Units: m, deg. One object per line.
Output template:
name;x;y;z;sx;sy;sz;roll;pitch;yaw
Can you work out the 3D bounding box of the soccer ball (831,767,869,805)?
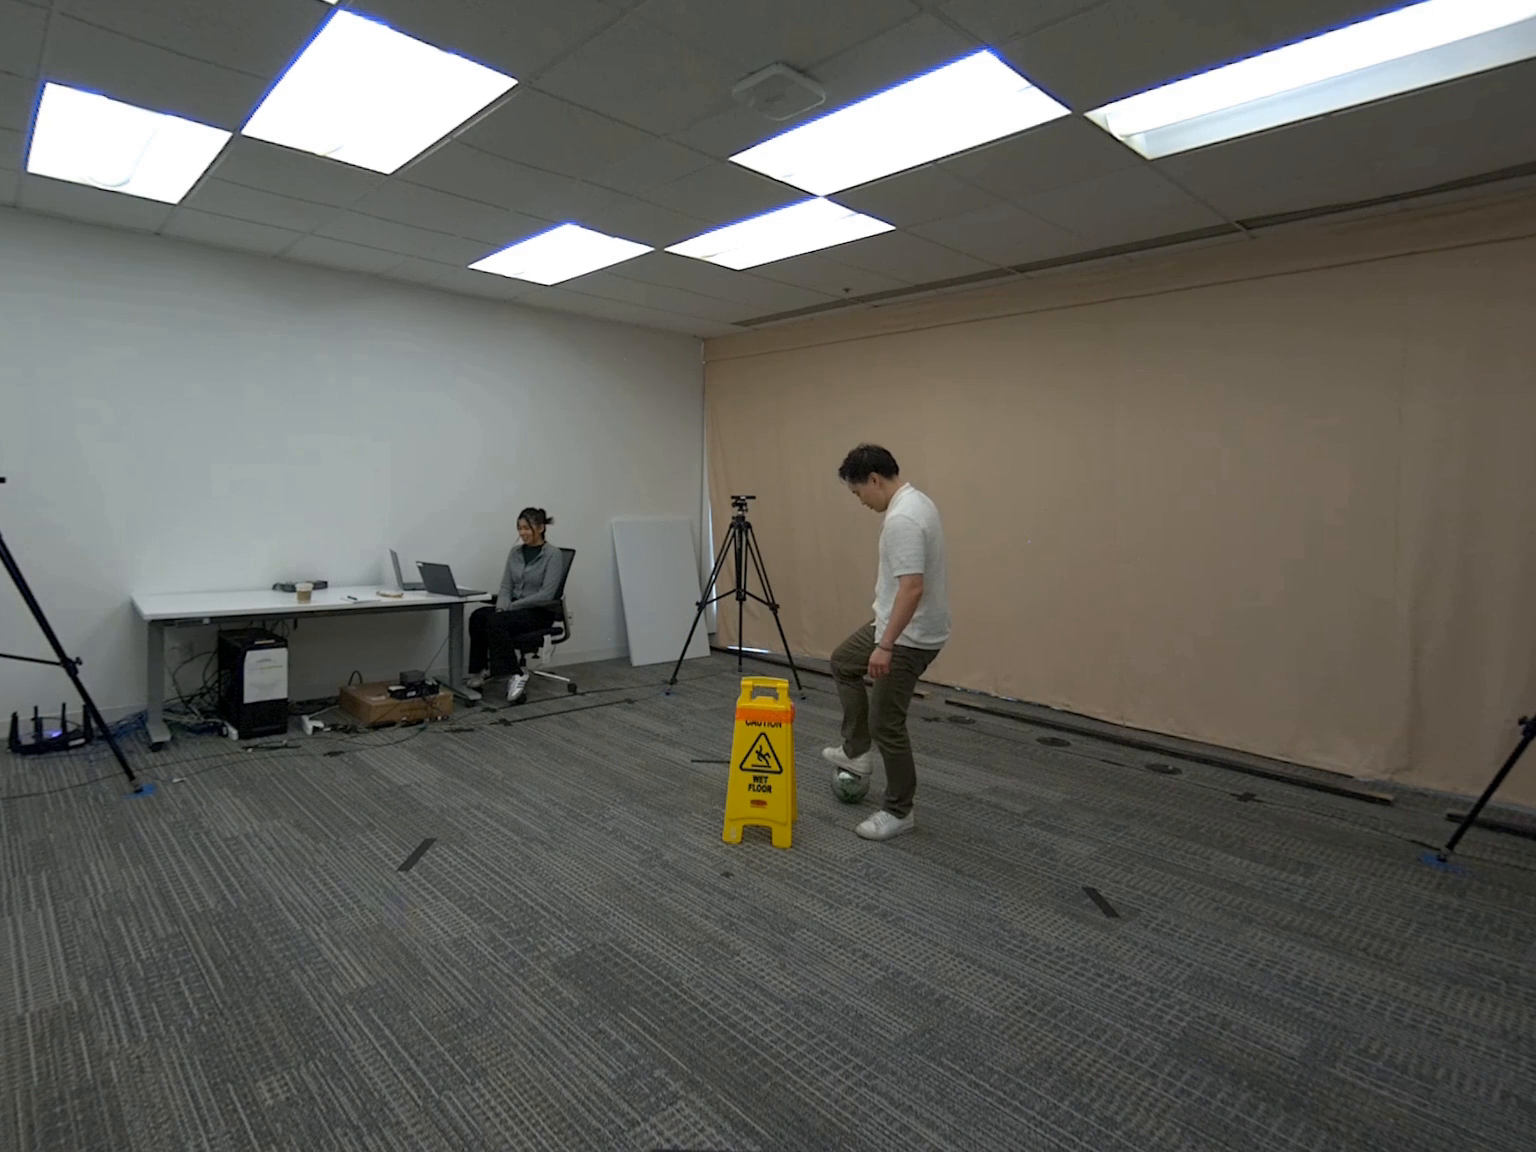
soccer ball;0.376;0.956;3.904;0.187;0.187;0.188;1;4;-1
